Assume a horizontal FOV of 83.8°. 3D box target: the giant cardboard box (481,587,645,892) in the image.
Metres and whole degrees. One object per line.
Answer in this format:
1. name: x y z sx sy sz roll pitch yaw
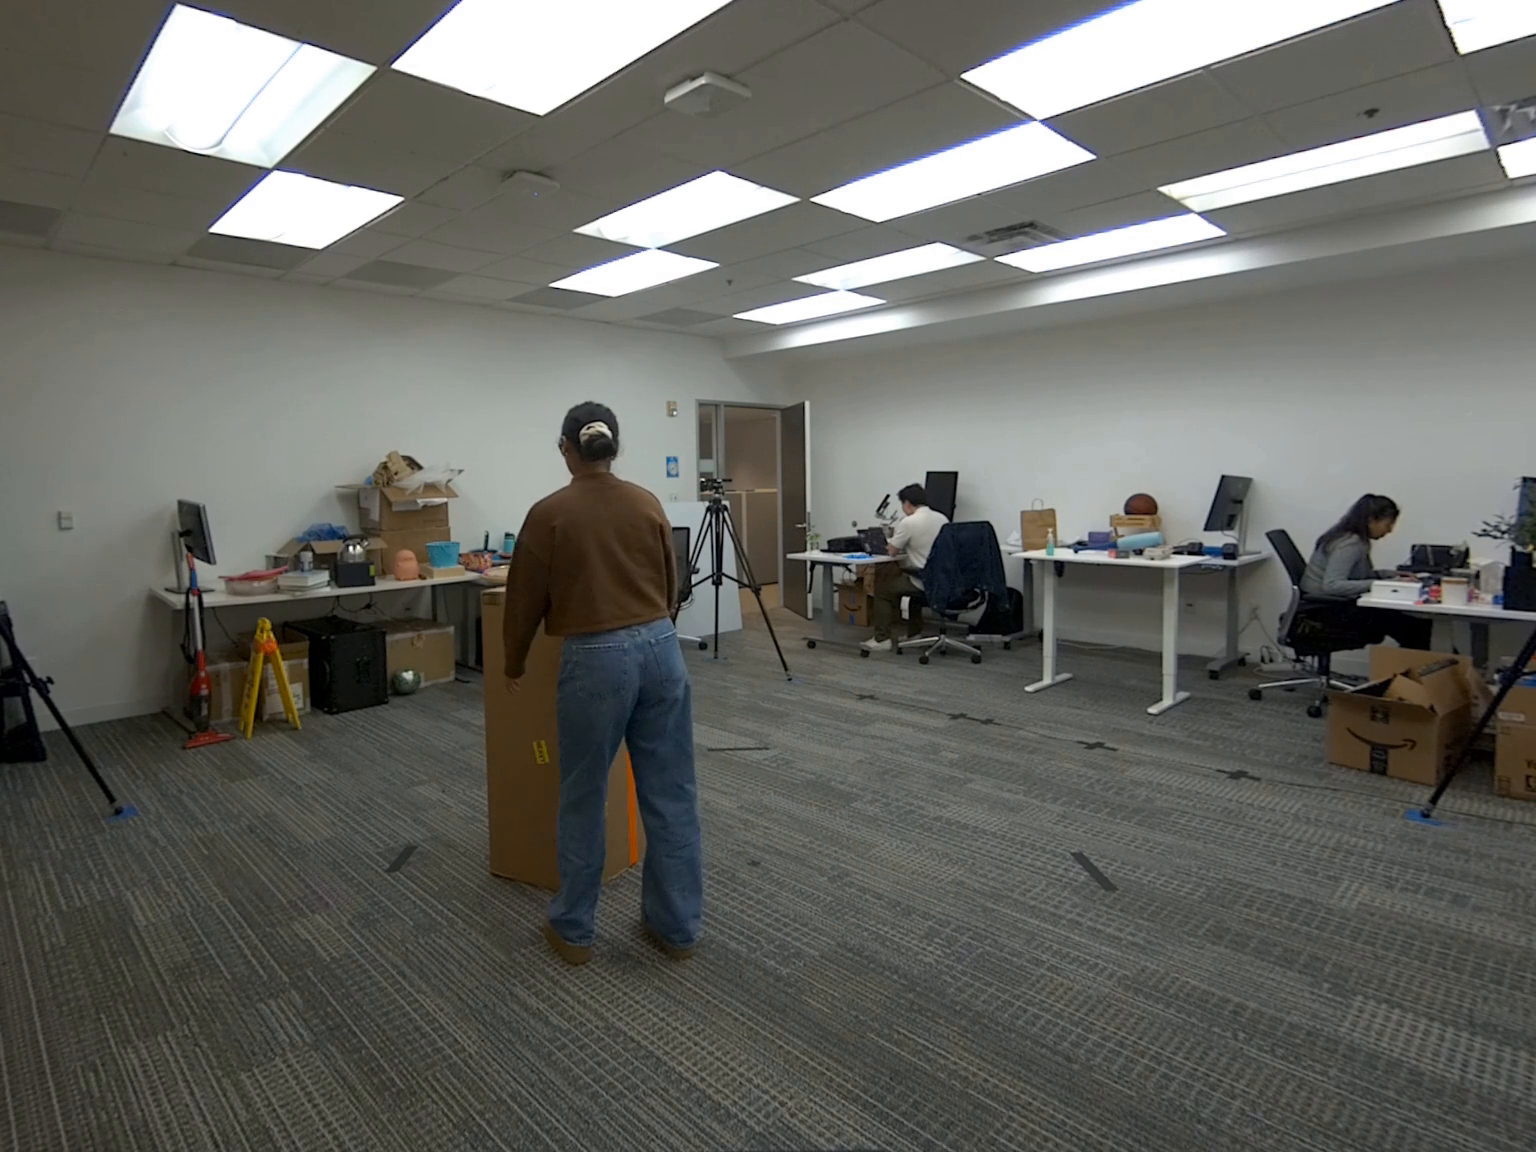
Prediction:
1. giant cardboard box: -0.697 0.536 3.189 0.436 1.022 0.566 1 4 27
